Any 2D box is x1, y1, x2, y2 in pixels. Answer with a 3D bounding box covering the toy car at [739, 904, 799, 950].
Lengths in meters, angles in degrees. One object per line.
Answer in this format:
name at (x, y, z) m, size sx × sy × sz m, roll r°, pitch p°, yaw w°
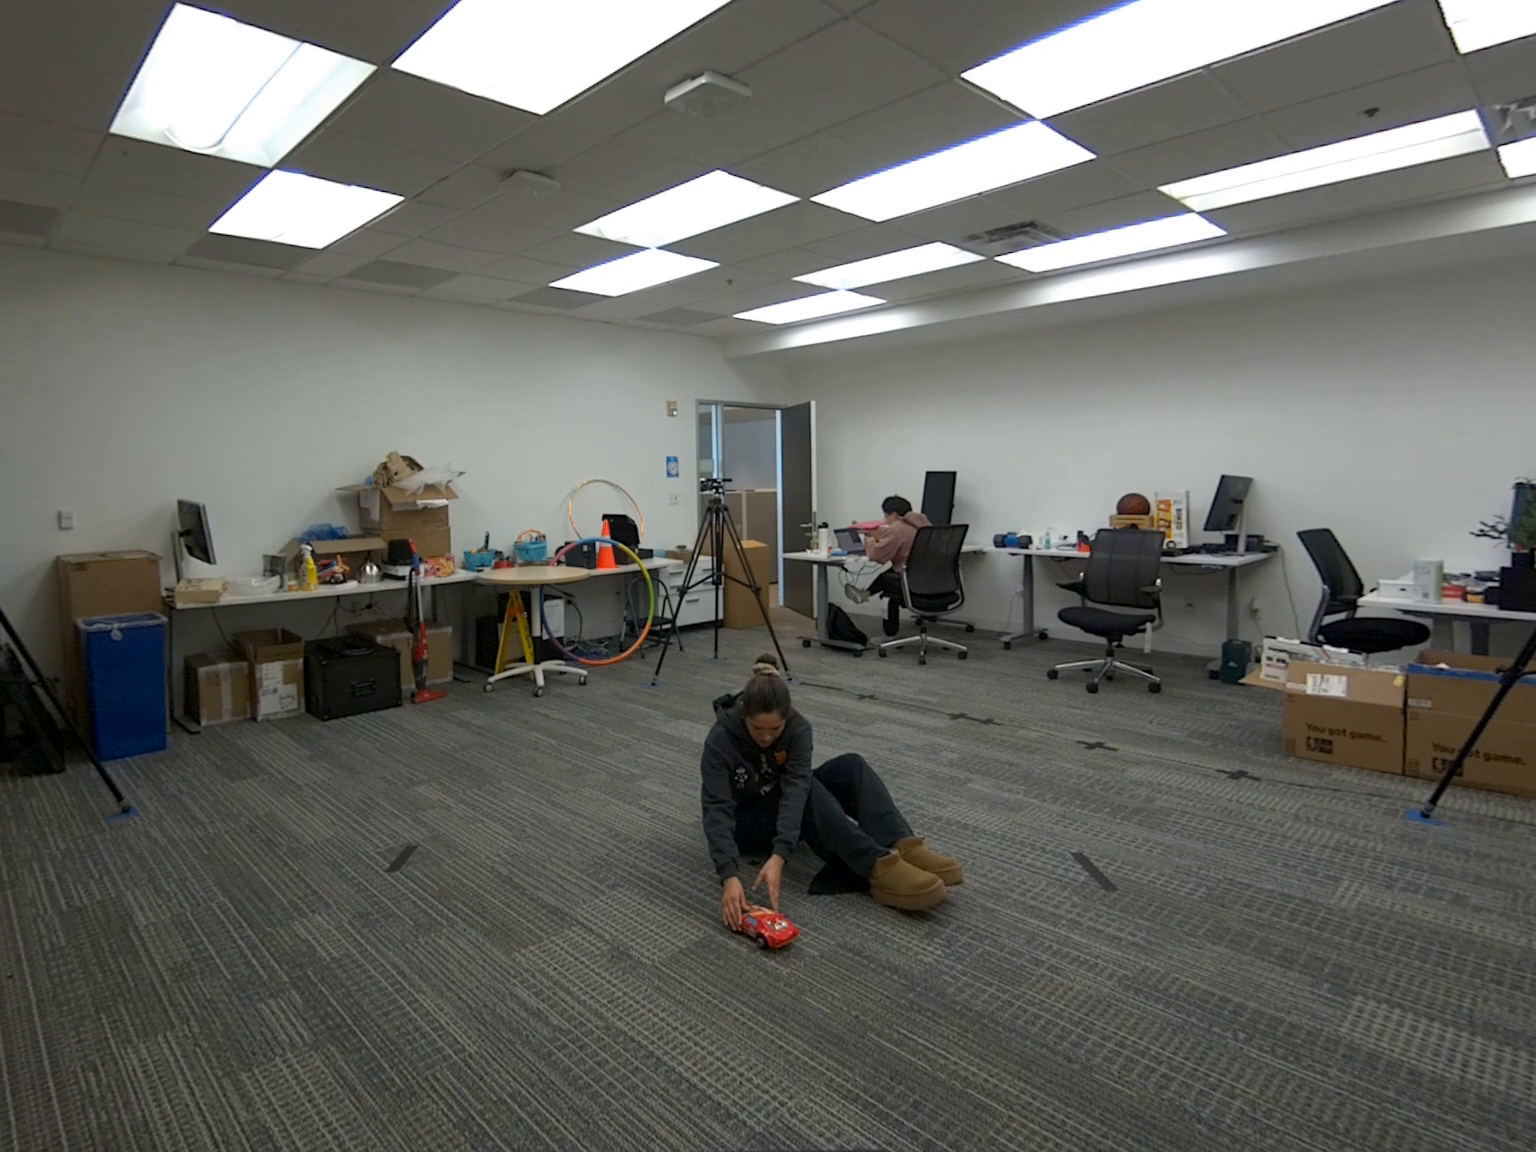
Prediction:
toy car at (-0.008, 1.074, 2.593) m, size 0.127 × 0.084 × 0.260 m, roll -7°, pitch -5°, yaw -40°
